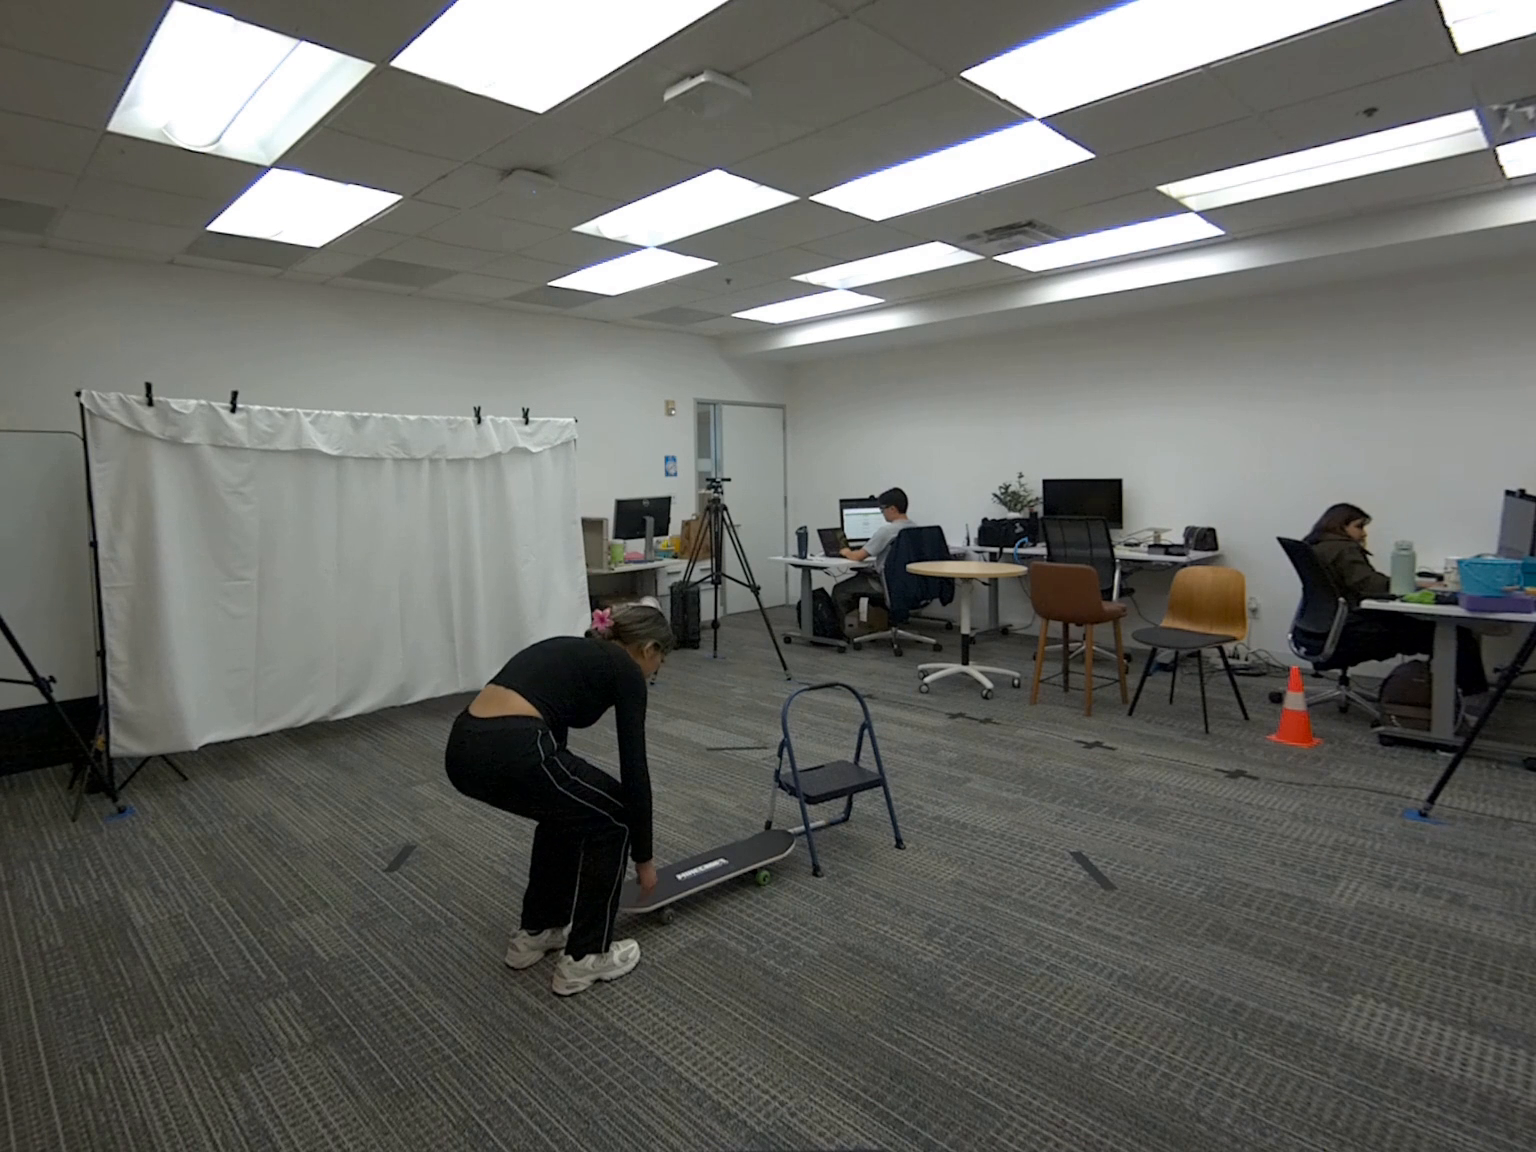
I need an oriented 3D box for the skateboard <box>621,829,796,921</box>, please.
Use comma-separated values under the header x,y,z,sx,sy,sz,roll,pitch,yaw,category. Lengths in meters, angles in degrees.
x,y,z,sx,sy,sz,roll,pitch,yaw,category
-0.219,1.021,2.868,0.765,0.110,0.199,-7,7,-39,skateboard
